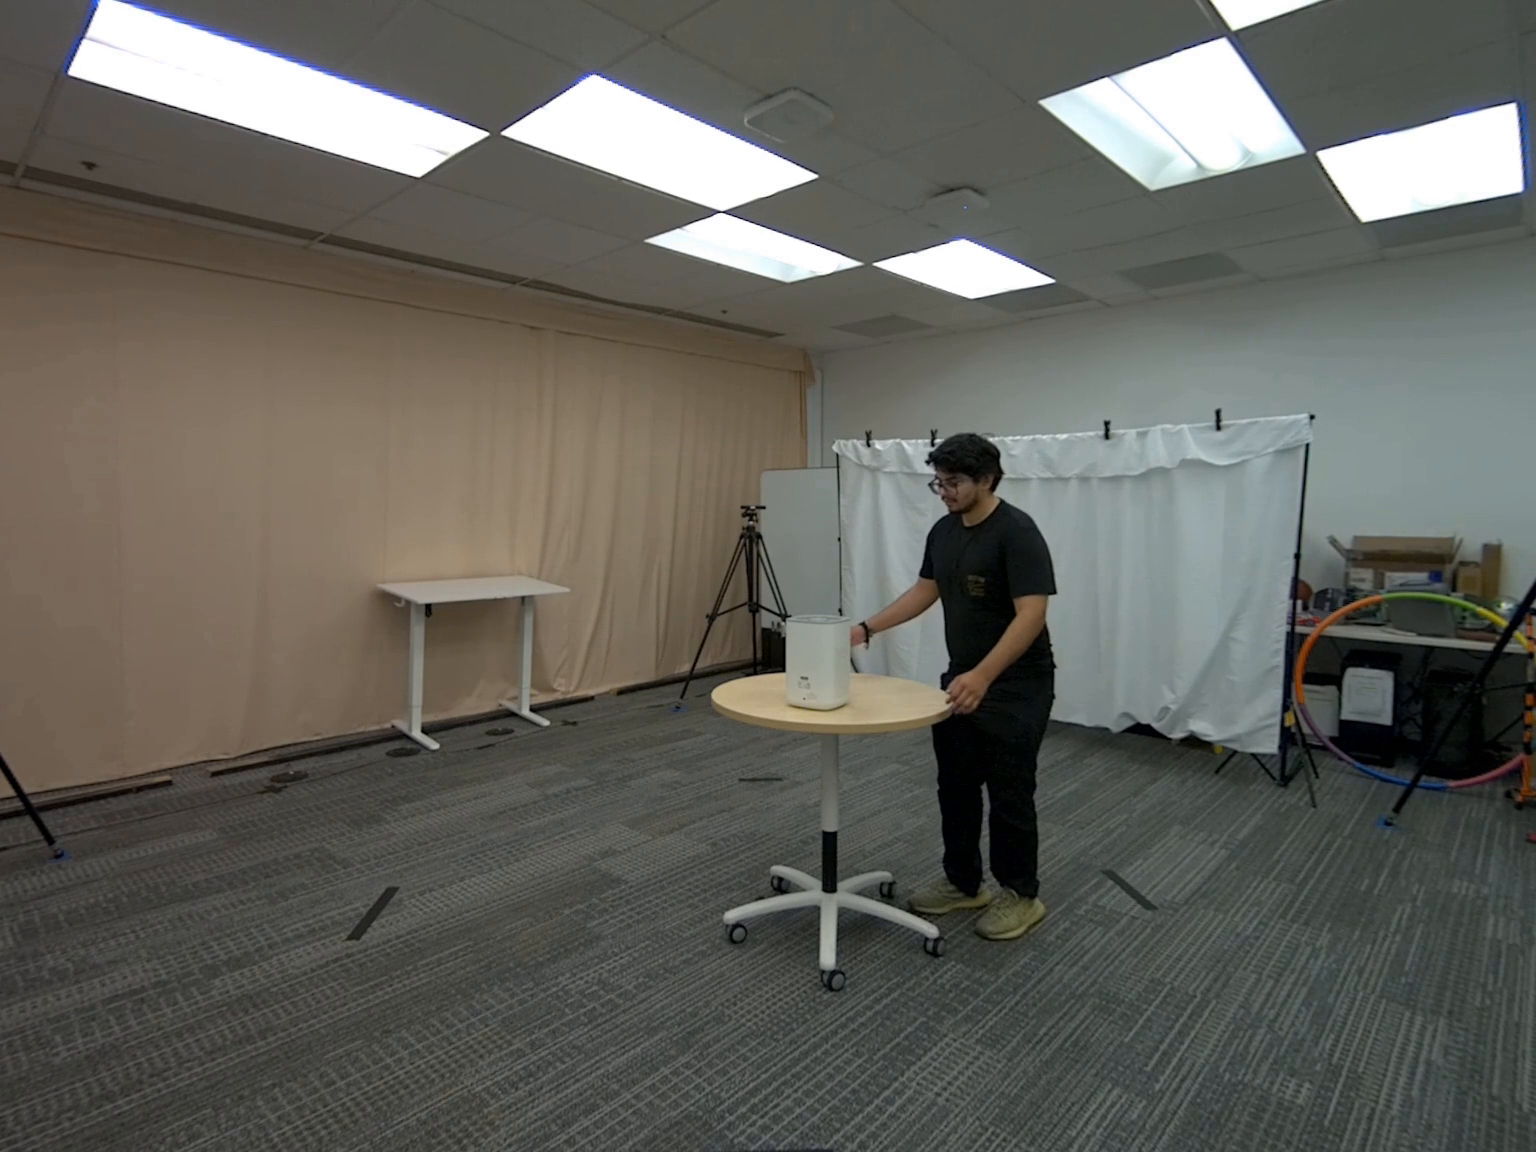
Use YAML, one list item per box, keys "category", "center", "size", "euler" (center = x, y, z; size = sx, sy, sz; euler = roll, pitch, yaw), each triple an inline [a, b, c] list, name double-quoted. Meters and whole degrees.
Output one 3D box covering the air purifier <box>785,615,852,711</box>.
- category: "air purifier"
  center: [0.161, 0.264, 2.557]
  size: [0.176, 0.265, 0.167]
  euler: [1, 1, 30]
